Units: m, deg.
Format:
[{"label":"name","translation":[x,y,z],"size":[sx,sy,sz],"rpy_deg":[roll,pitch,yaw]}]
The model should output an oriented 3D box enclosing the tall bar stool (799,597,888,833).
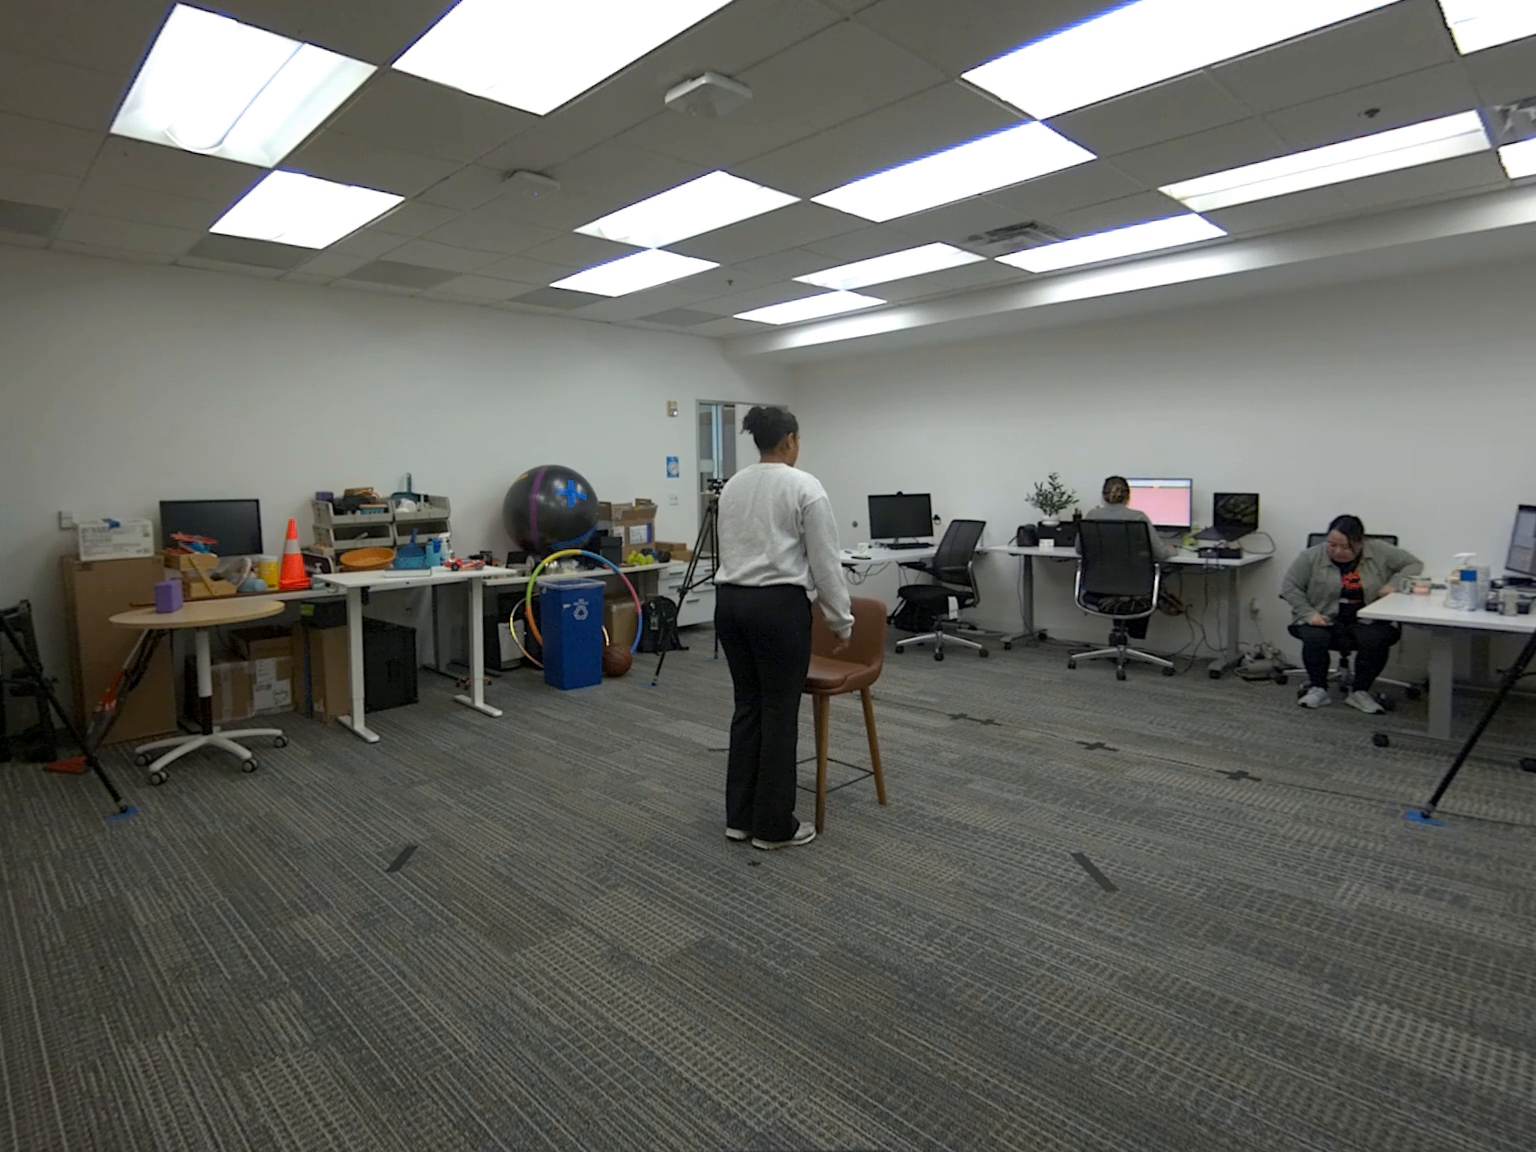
[{"label":"tall bar stool","translation":[0.221,0.543,3.630],"size":[0.454,0.888,0.470],"rpy_deg":[-1,3,-42]}]
